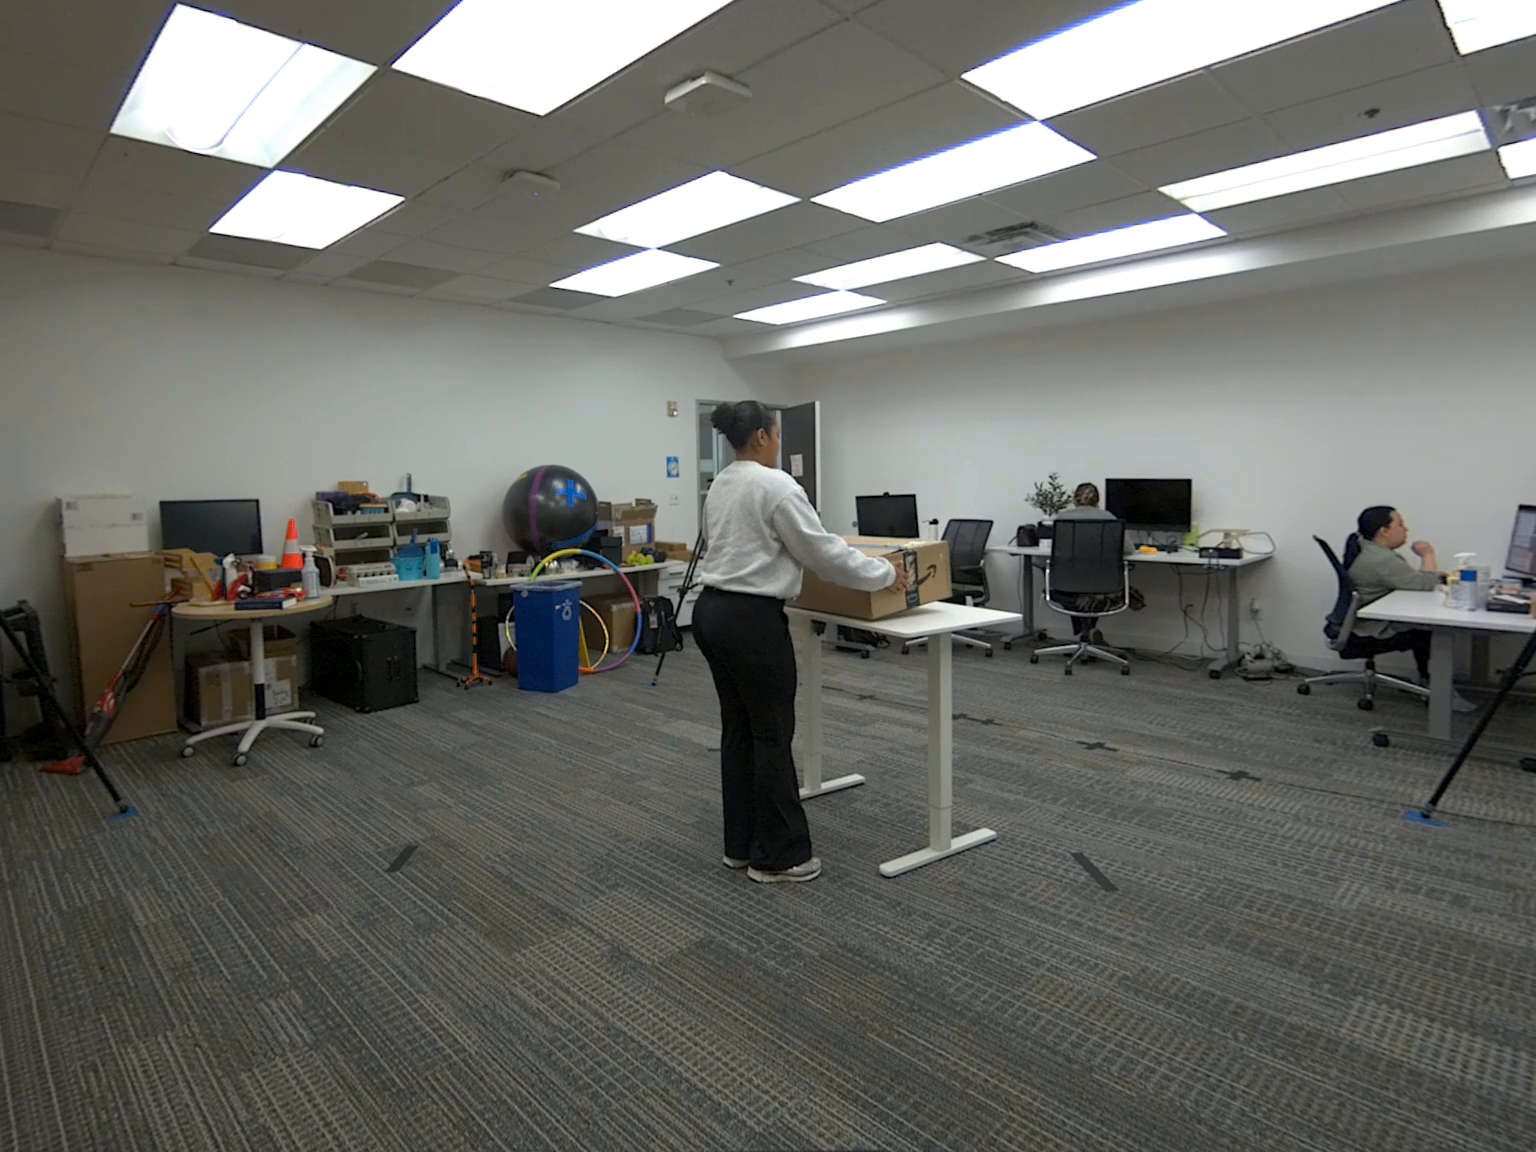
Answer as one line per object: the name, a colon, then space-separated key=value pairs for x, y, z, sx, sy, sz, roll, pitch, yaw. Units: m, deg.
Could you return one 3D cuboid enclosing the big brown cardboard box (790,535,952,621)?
big brown cardboard box: x=0.358 y=-0.014 z=3.343 sx=0.409 sy=0.231 sz=0.606 roll=-13 pitch=10 yaw=-34
